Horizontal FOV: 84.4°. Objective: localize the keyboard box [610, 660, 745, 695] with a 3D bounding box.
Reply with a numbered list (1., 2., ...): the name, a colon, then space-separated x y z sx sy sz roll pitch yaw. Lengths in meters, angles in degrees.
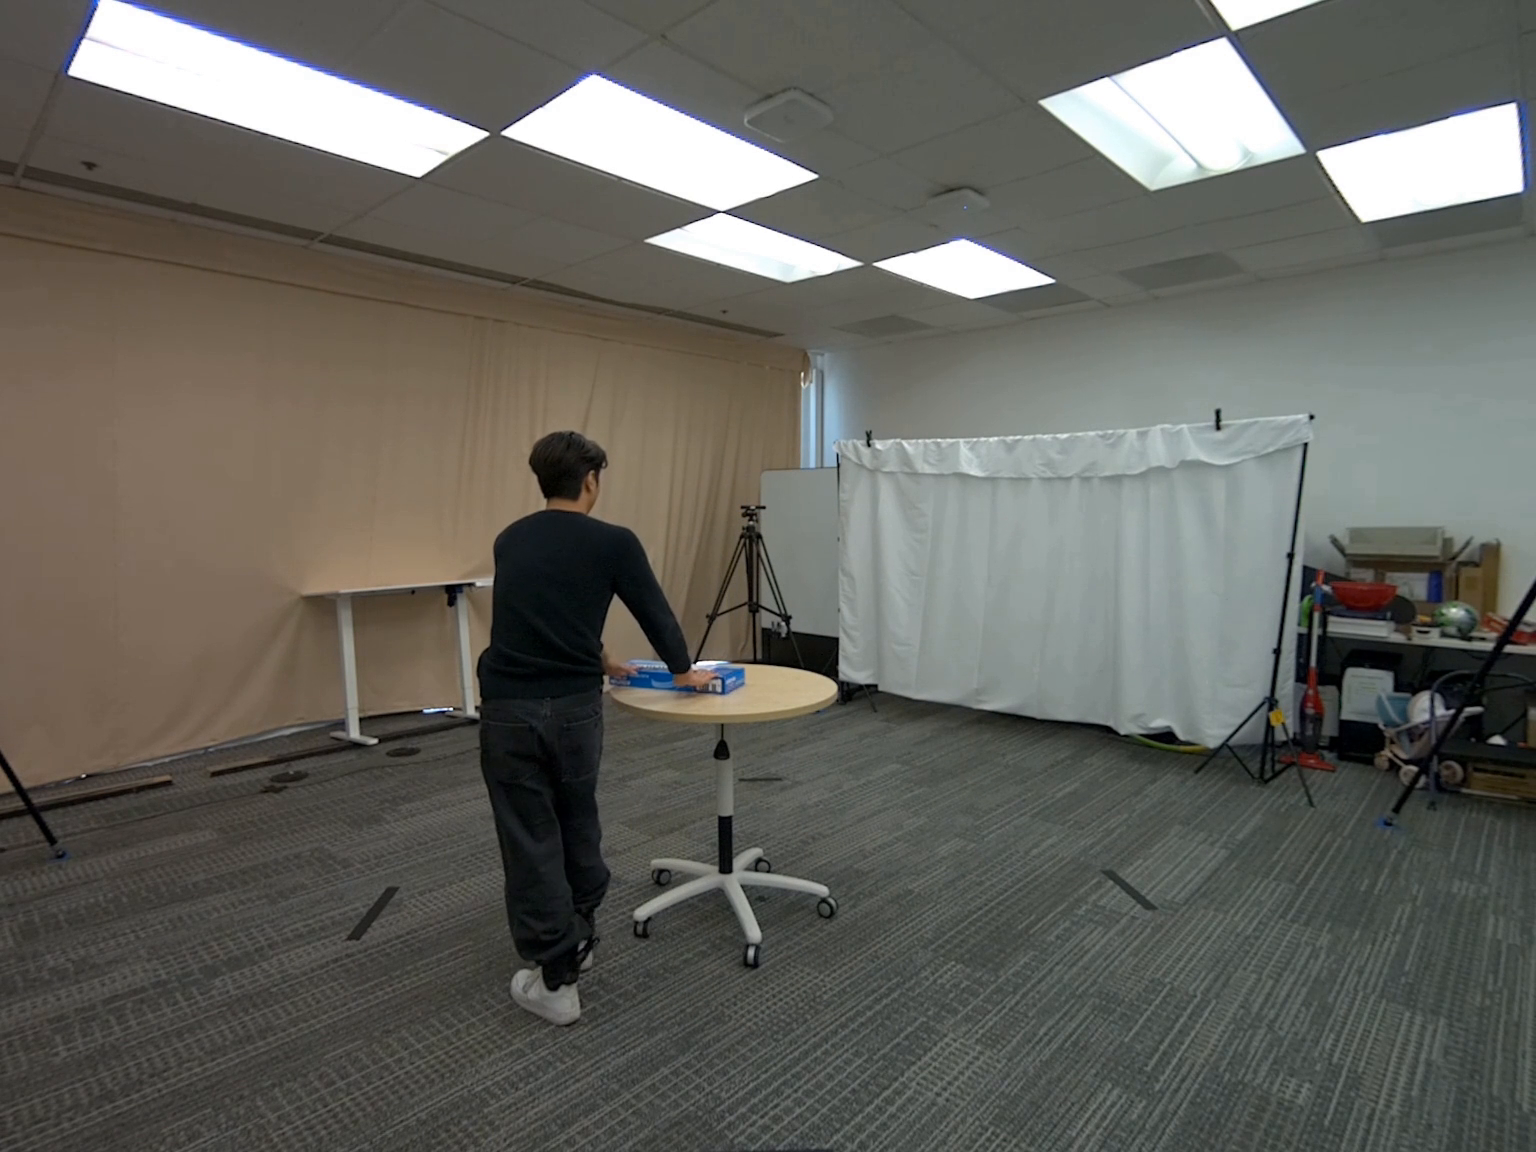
1. keyboard box: -0.308 0.345 2.879 0.447 0.059 0.172 2 6 23
